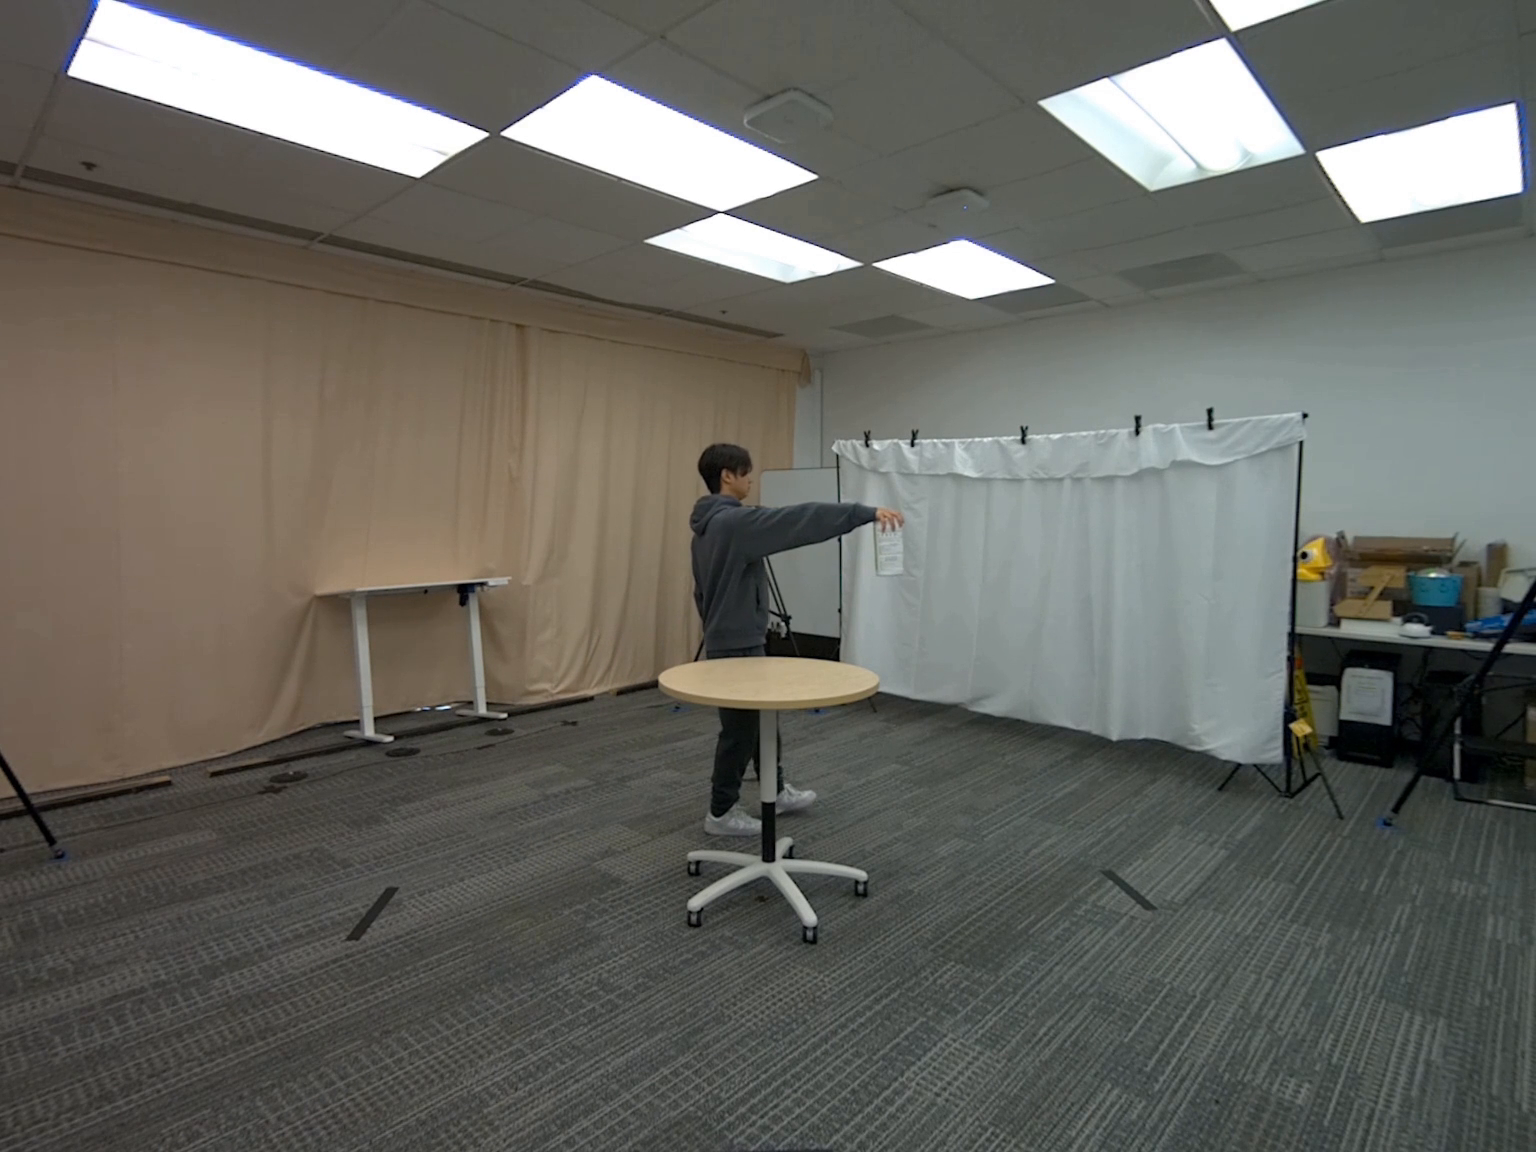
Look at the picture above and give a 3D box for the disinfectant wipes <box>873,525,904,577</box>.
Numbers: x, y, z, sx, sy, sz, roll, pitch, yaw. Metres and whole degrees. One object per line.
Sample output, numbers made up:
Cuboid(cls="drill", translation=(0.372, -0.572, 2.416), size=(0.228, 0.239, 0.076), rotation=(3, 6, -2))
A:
Cuboid(cls="disinfectant wipes", translation=(0.471, -0.108, 3.254), size=(0.118, 0.217, 0.118), rotation=(-3, 4, -2))
